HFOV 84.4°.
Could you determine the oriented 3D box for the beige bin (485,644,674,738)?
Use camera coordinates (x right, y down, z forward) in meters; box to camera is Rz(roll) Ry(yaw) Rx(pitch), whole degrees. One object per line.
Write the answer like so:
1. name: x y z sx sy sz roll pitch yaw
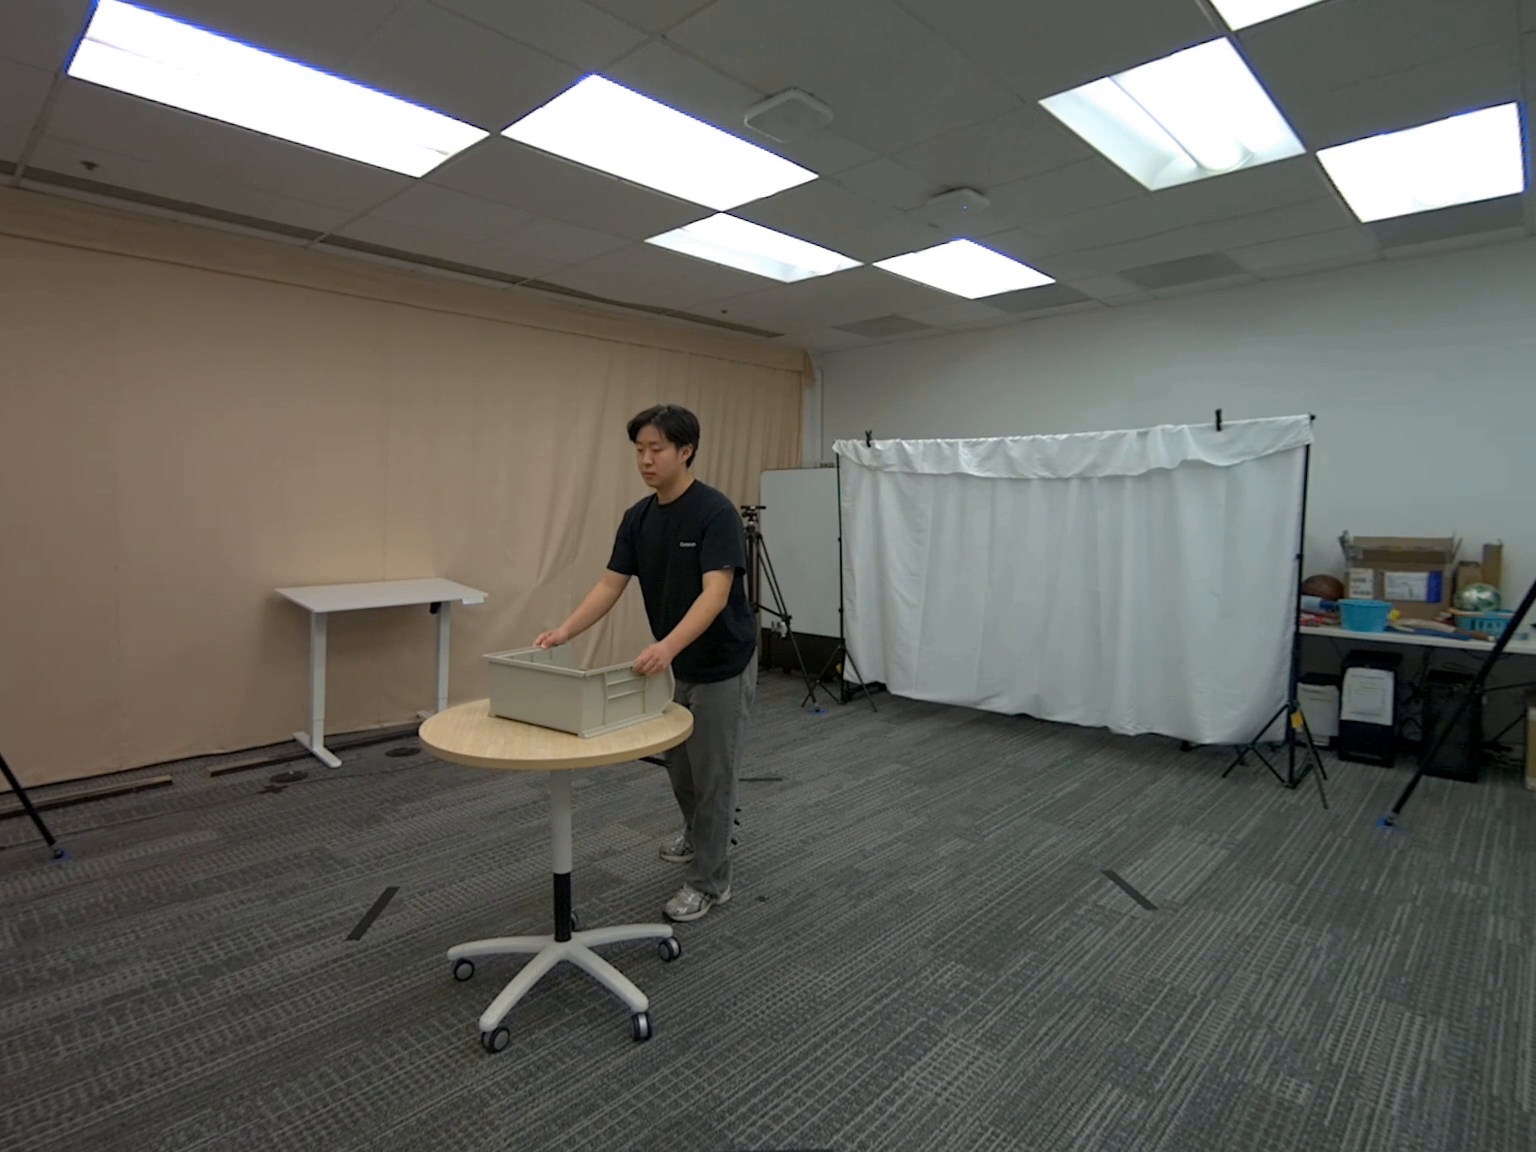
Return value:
1. beige bin: -0.552 0.321 2.472 0.436 0.188 0.366 4 7 36
